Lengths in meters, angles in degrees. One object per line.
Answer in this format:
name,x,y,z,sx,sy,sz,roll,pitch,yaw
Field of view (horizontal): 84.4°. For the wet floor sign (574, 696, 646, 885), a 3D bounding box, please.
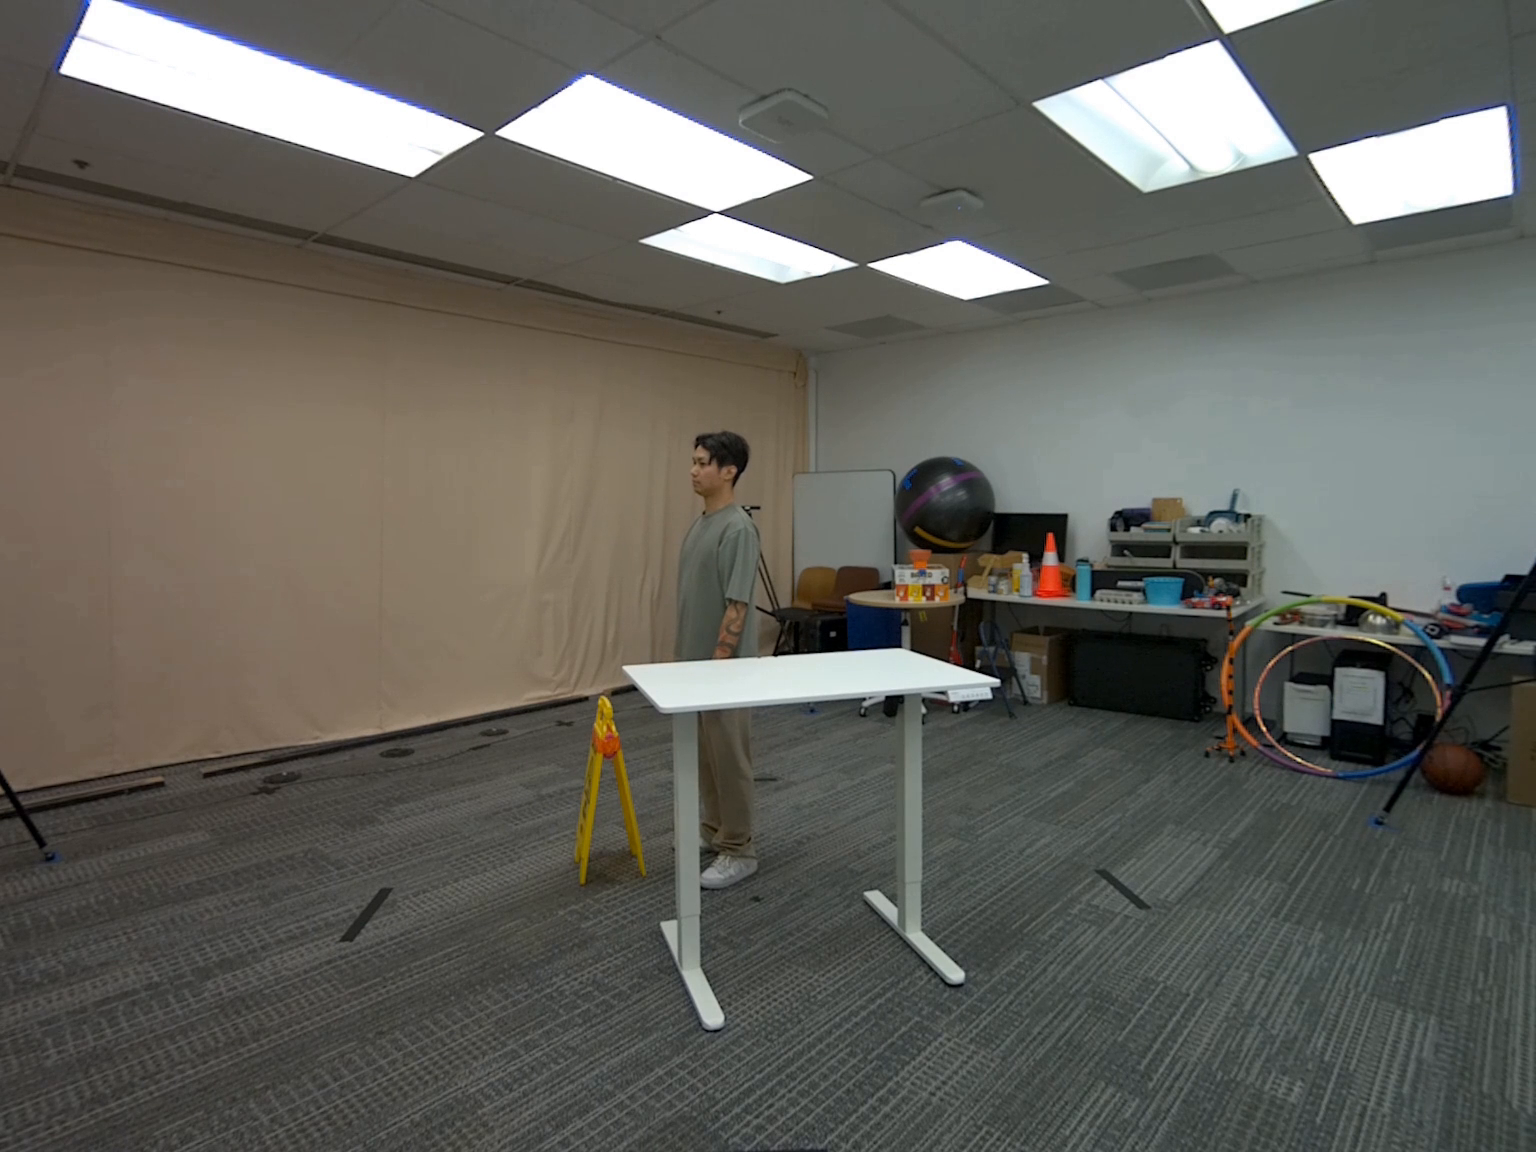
wet floor sign,-0.621,0.801,3.250,0.285,0.645,0.287,-3,2,-16
